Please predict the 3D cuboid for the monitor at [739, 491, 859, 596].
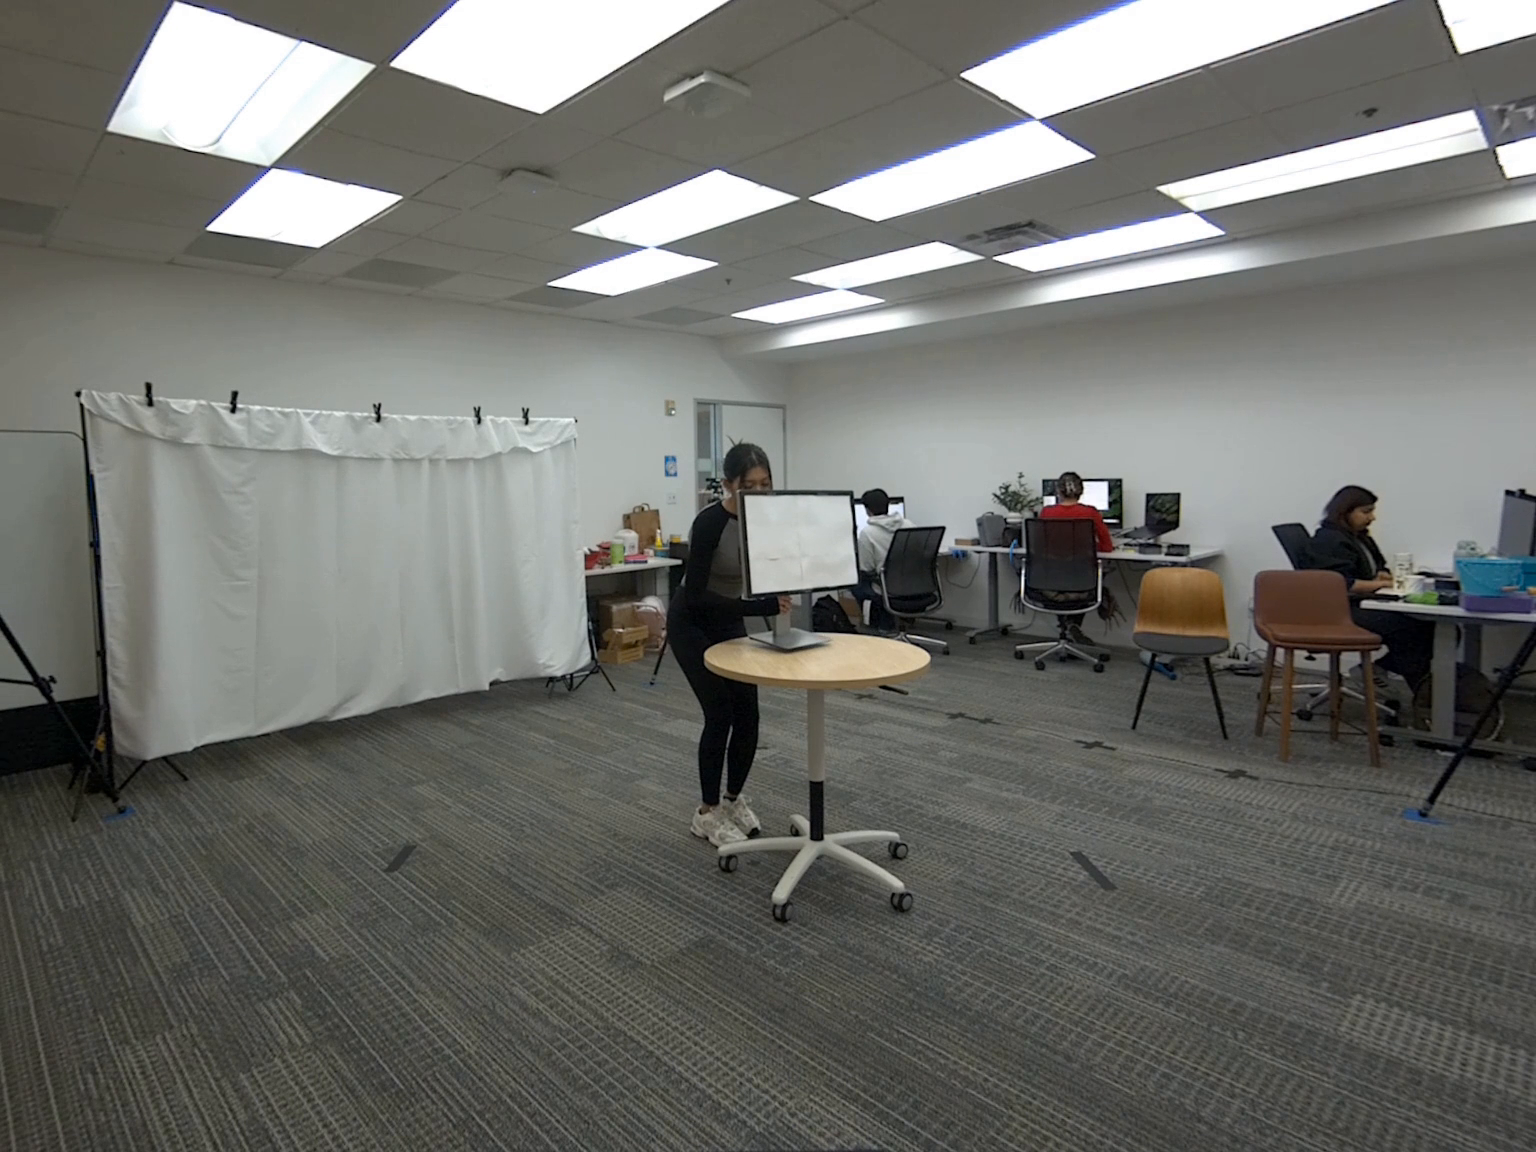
[{"bbox_3d":[0.092,-0.031,3.042,0.524,0.519,0.193,-3,9,-41],"label":"monitor"}]
